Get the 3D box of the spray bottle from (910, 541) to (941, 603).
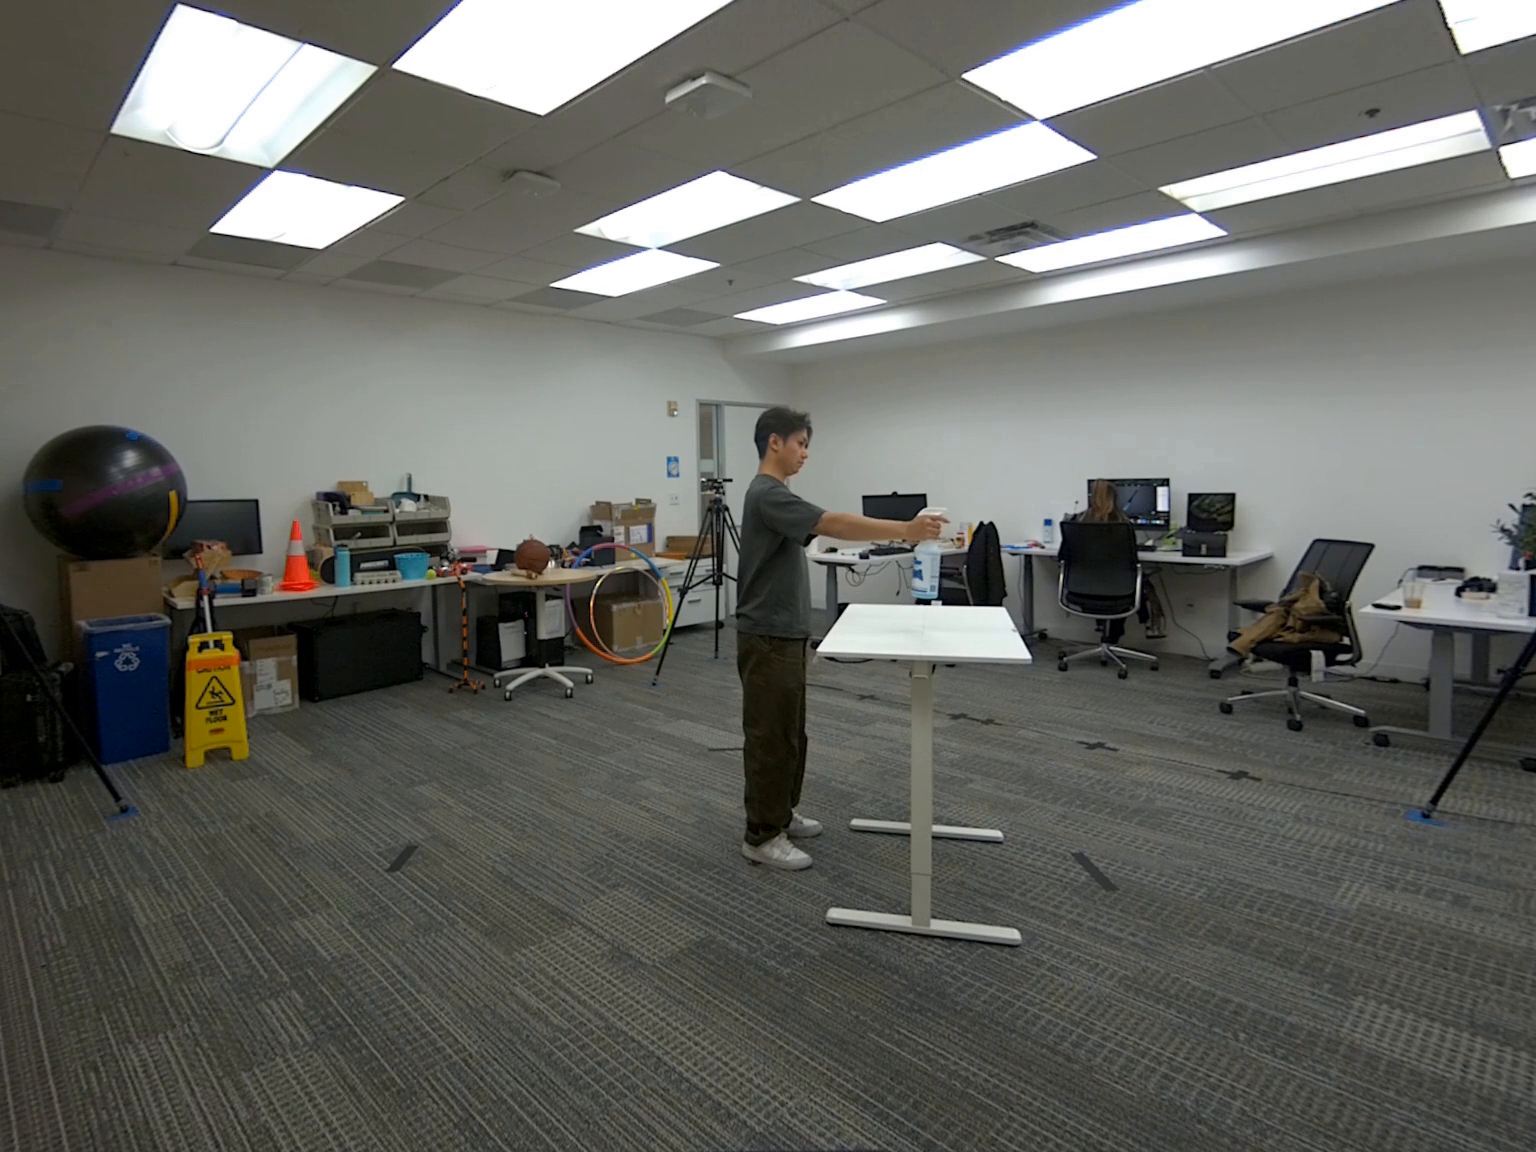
[{"bbox_3d":[0.526,-0.078,2.811,0.093,0.296,0.085,6,6,34],"label":"spray bottle"}]
